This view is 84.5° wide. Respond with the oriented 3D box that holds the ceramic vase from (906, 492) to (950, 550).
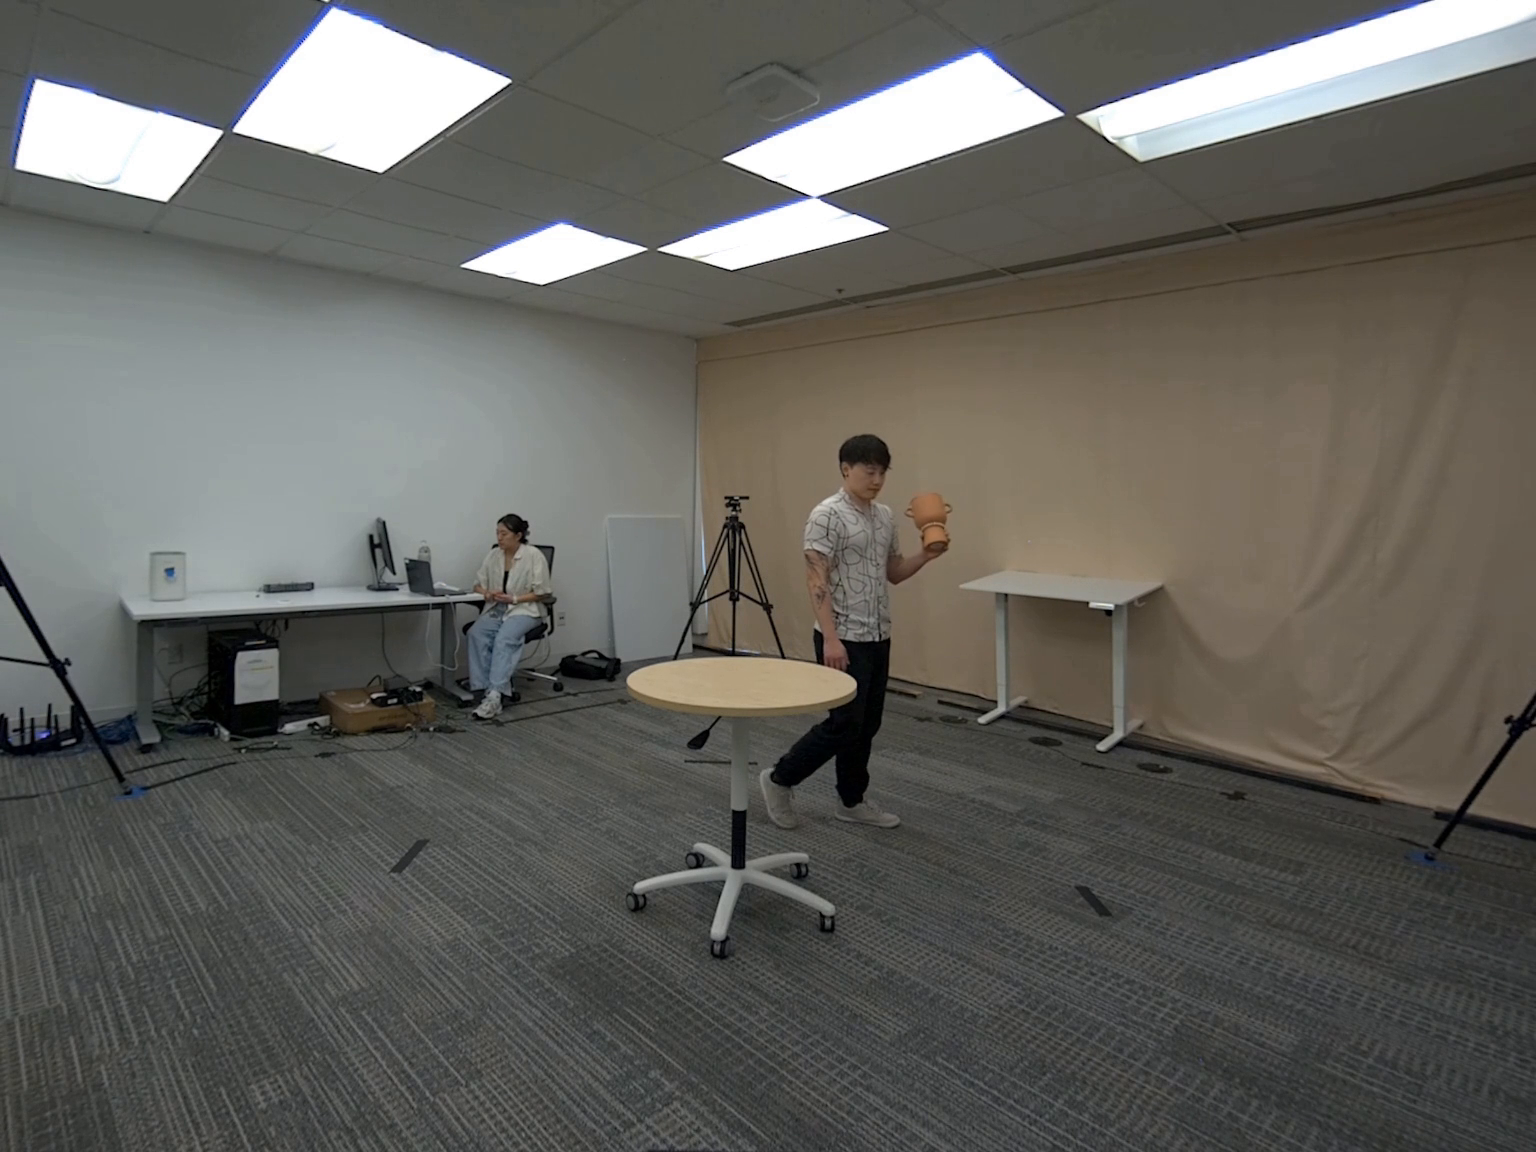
[{"bbox_3d":[0.660,-0.221,3.491,0.160,0.224,0.130,-26,-32,35],"label":"ceramic vase"}]
